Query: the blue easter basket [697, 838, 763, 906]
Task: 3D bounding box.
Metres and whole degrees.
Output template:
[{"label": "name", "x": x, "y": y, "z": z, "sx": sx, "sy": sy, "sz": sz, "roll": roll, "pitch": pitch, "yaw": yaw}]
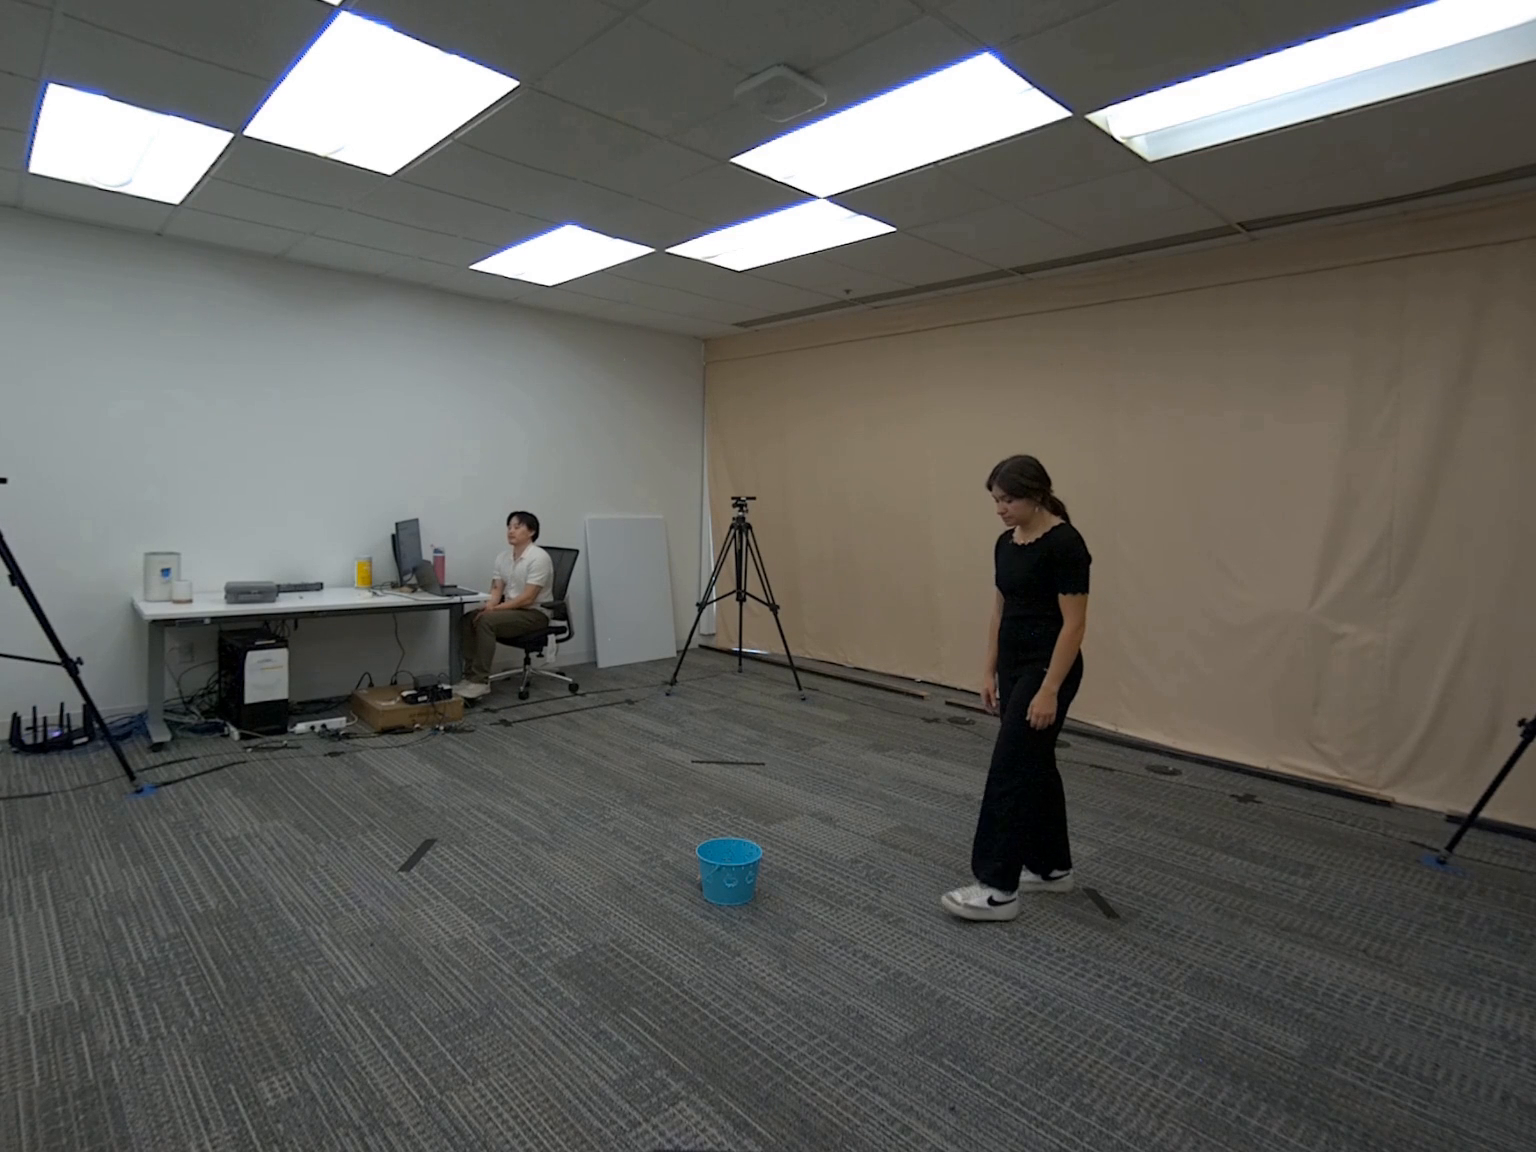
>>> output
[{"label": "blue easter basket", "x": -0.145, "y": 1.032, "z": 2.967, "sx": 0.243, "sy": 0.155, "sz": 0.244, "roll": 0, "pitch": 6, "yaw": -1}]
